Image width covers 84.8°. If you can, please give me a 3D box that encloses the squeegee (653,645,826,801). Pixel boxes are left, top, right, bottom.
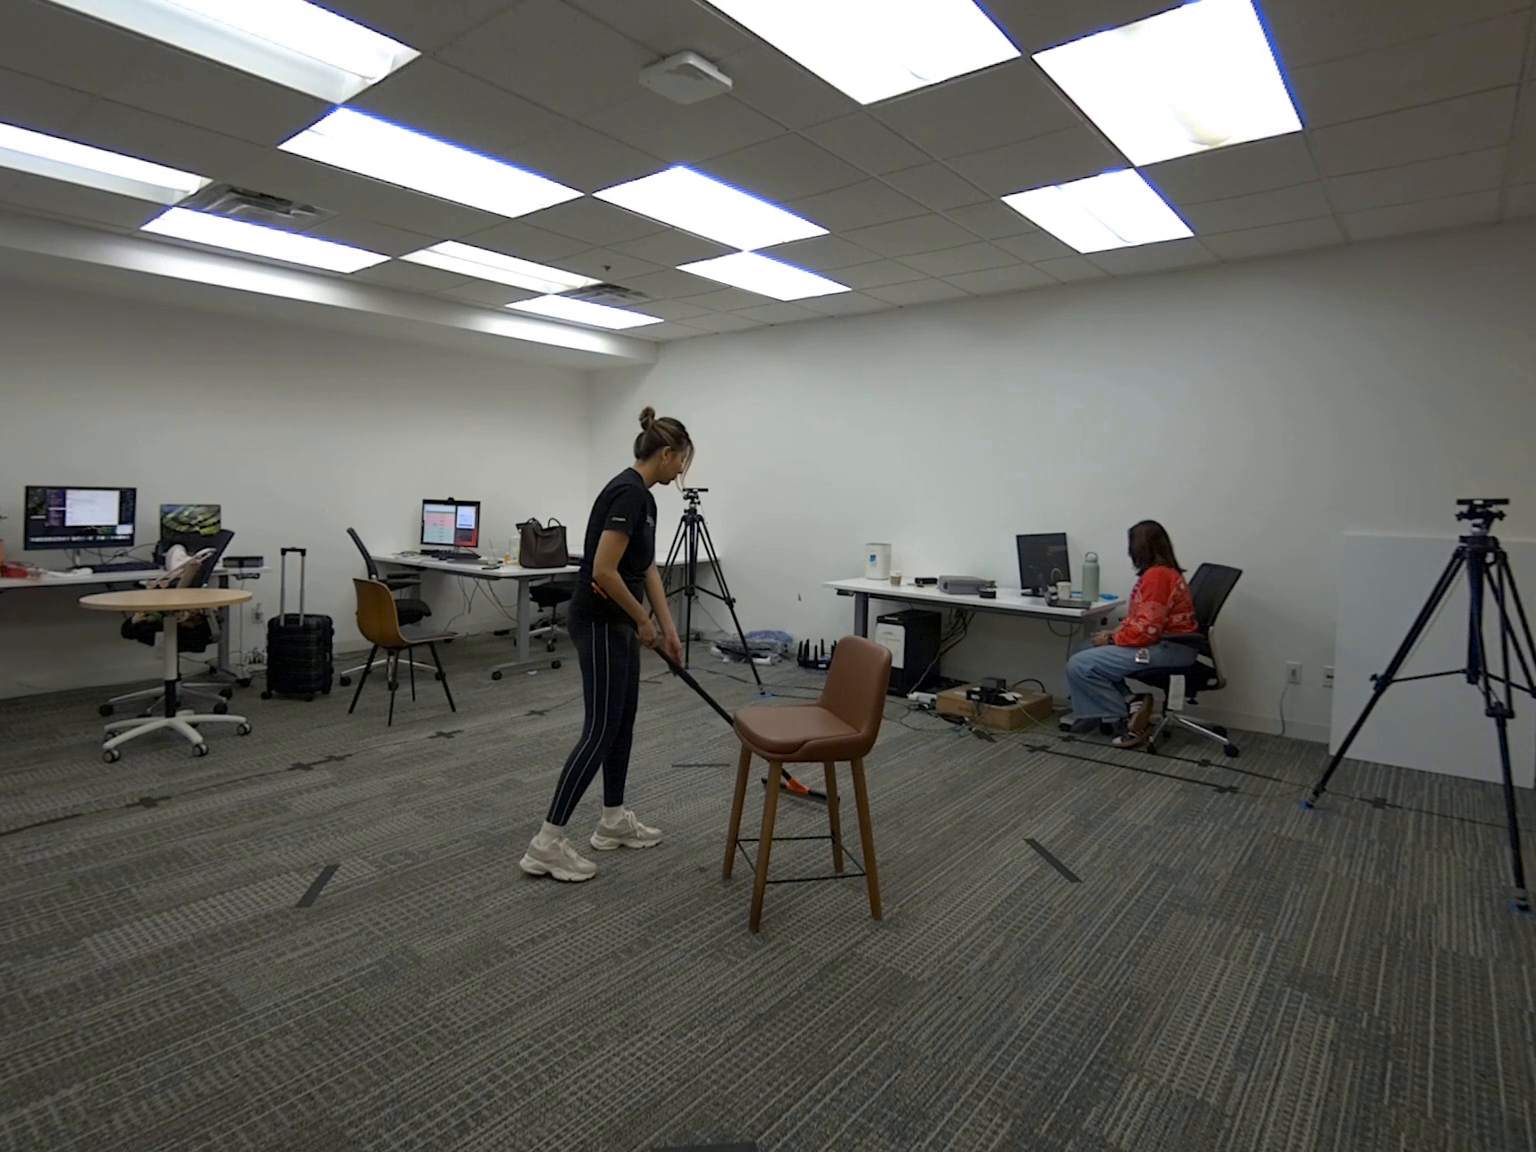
[{"bbox_3d":[-0.242,0.466,3.398,0.452,0.053,1.478,2,-38,43],"label":"squeegee"}]
